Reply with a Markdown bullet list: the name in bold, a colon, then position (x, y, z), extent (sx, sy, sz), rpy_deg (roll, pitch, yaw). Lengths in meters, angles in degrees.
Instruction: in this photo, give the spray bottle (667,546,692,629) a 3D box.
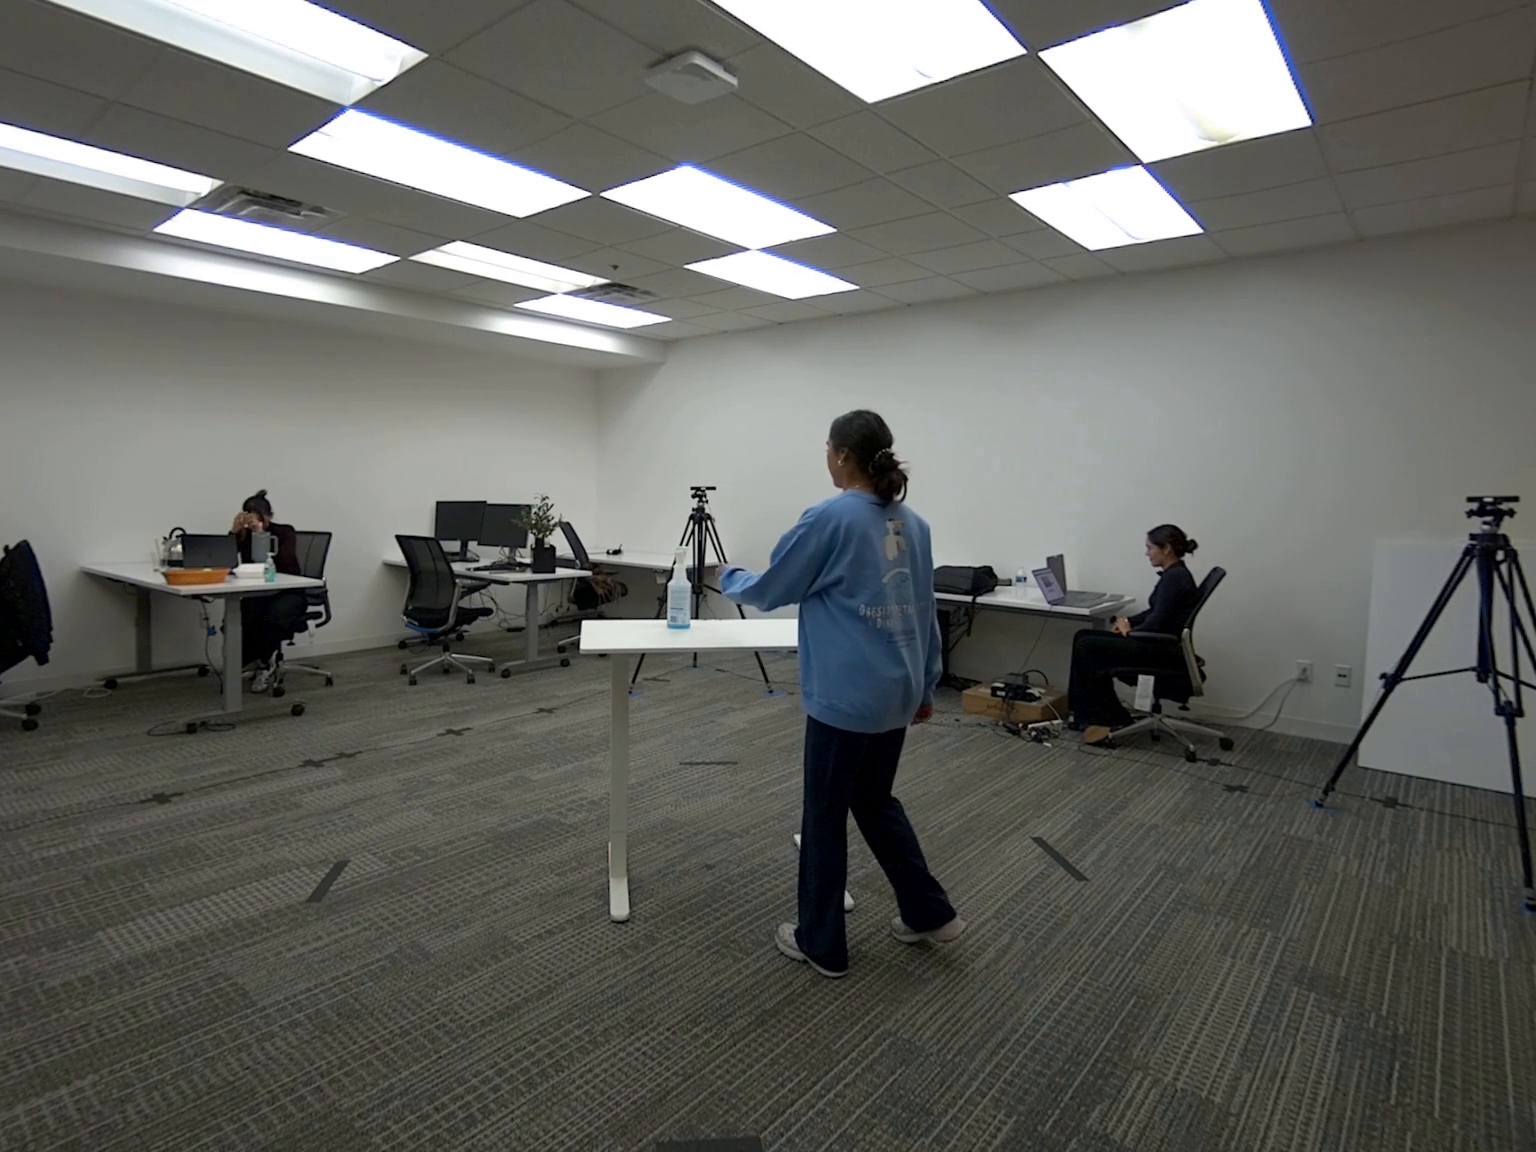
- **spray bottle**: position (-0.333, 0.040, 3.089), extent (0.087, 0.297, 0.090), rpy_deg (1, 2, -3)
